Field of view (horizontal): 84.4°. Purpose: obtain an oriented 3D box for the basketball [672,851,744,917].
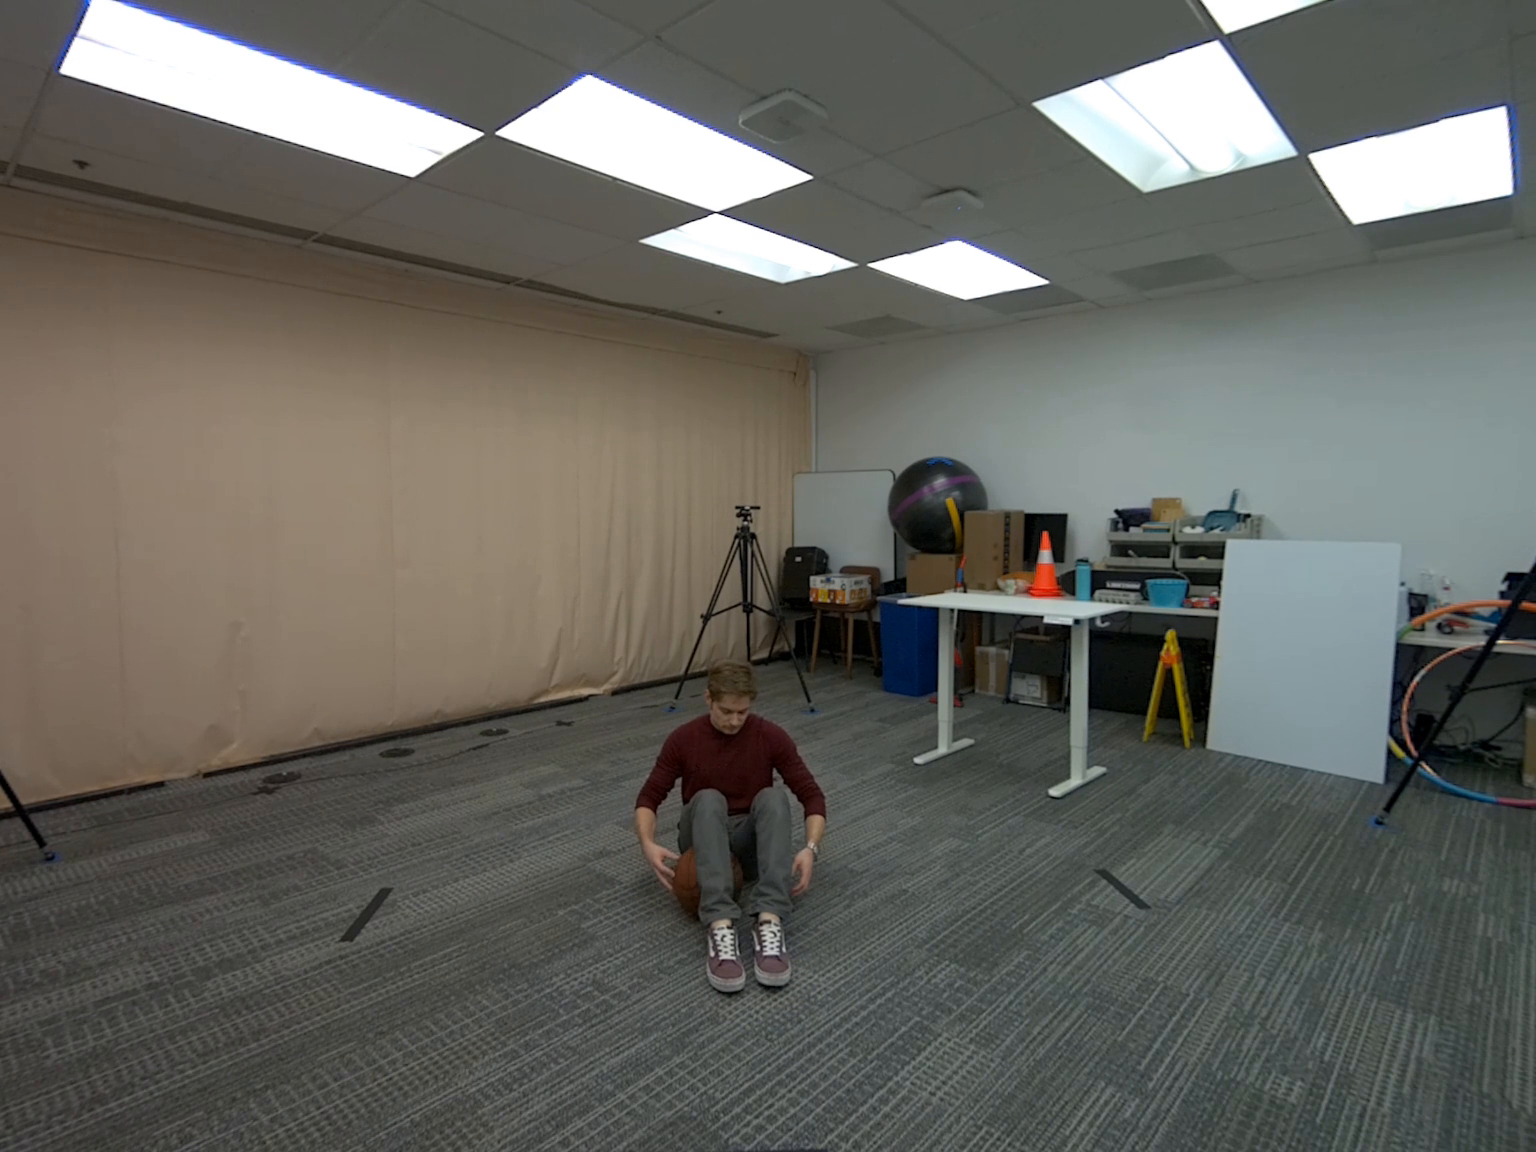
[{"bbox_3d":[-0.198,1.035,2.884,0.236,0.235,0.237,0,4,-2],"label":"basketball"}]
